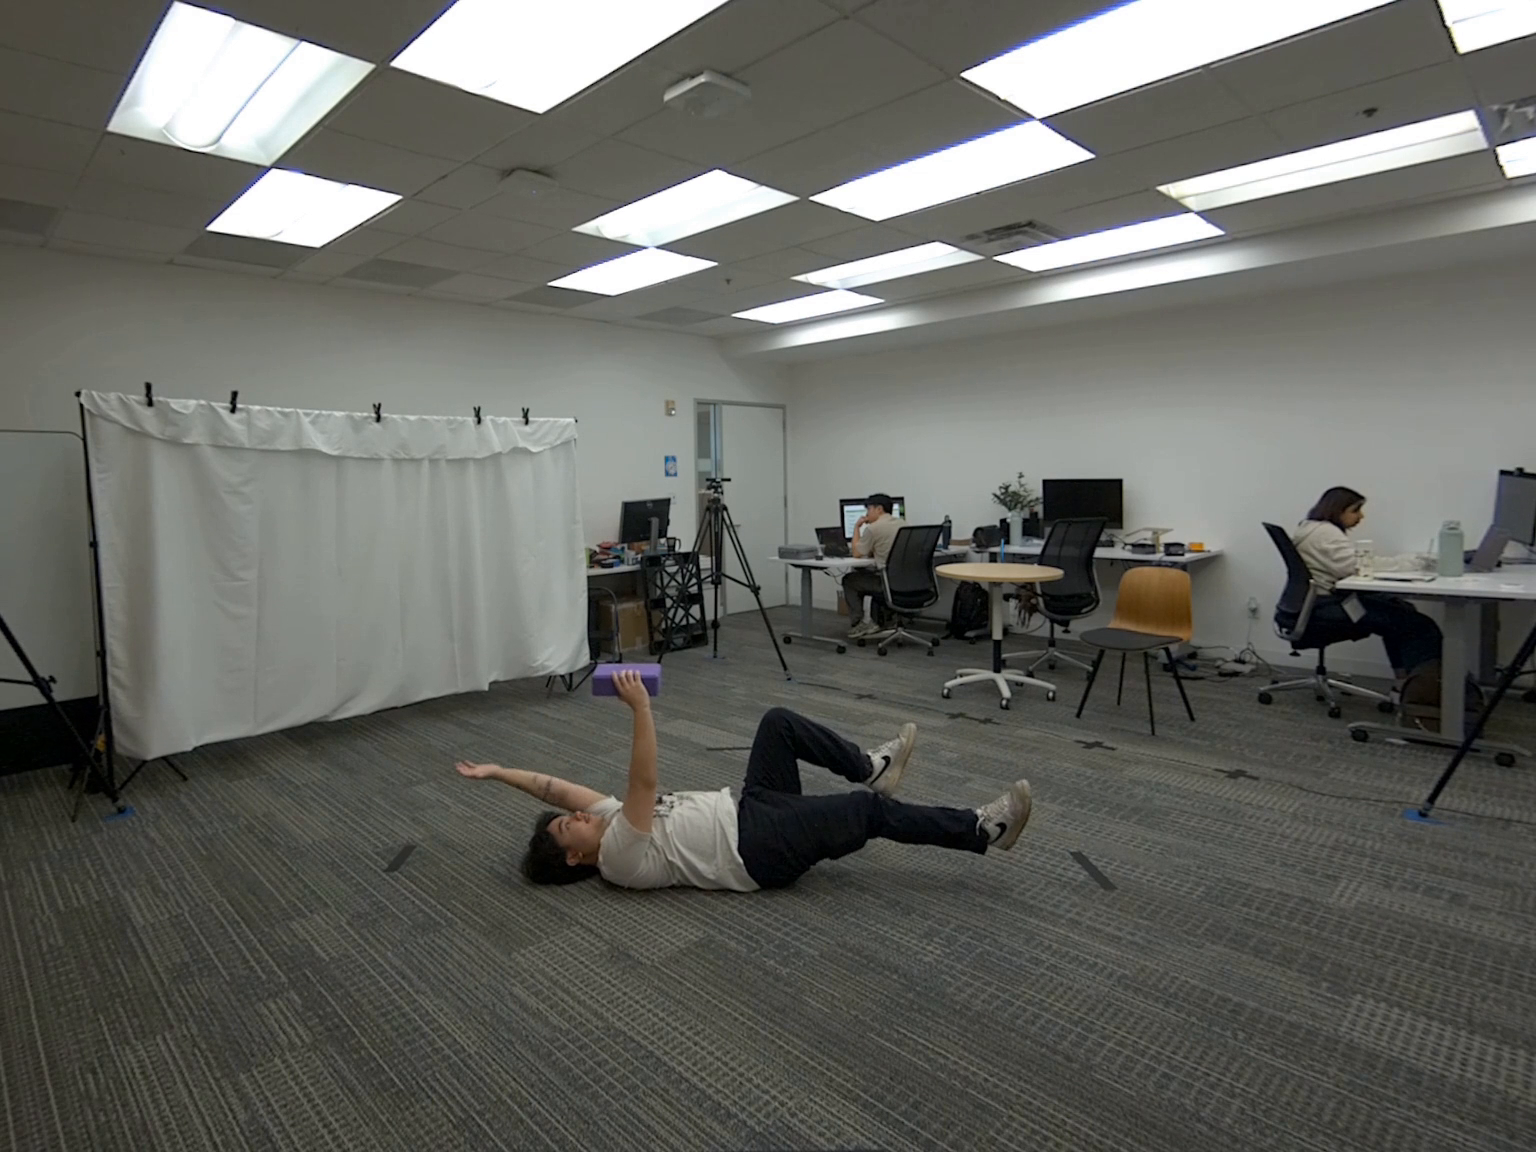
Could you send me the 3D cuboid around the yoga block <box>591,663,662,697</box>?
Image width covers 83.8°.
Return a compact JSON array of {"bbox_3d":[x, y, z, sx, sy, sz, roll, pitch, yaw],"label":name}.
[{"bbox_3d":[-0.497,0.366,3.002,0.230,0.076,0.150,1,12,3],"label":"yoga block"}]
